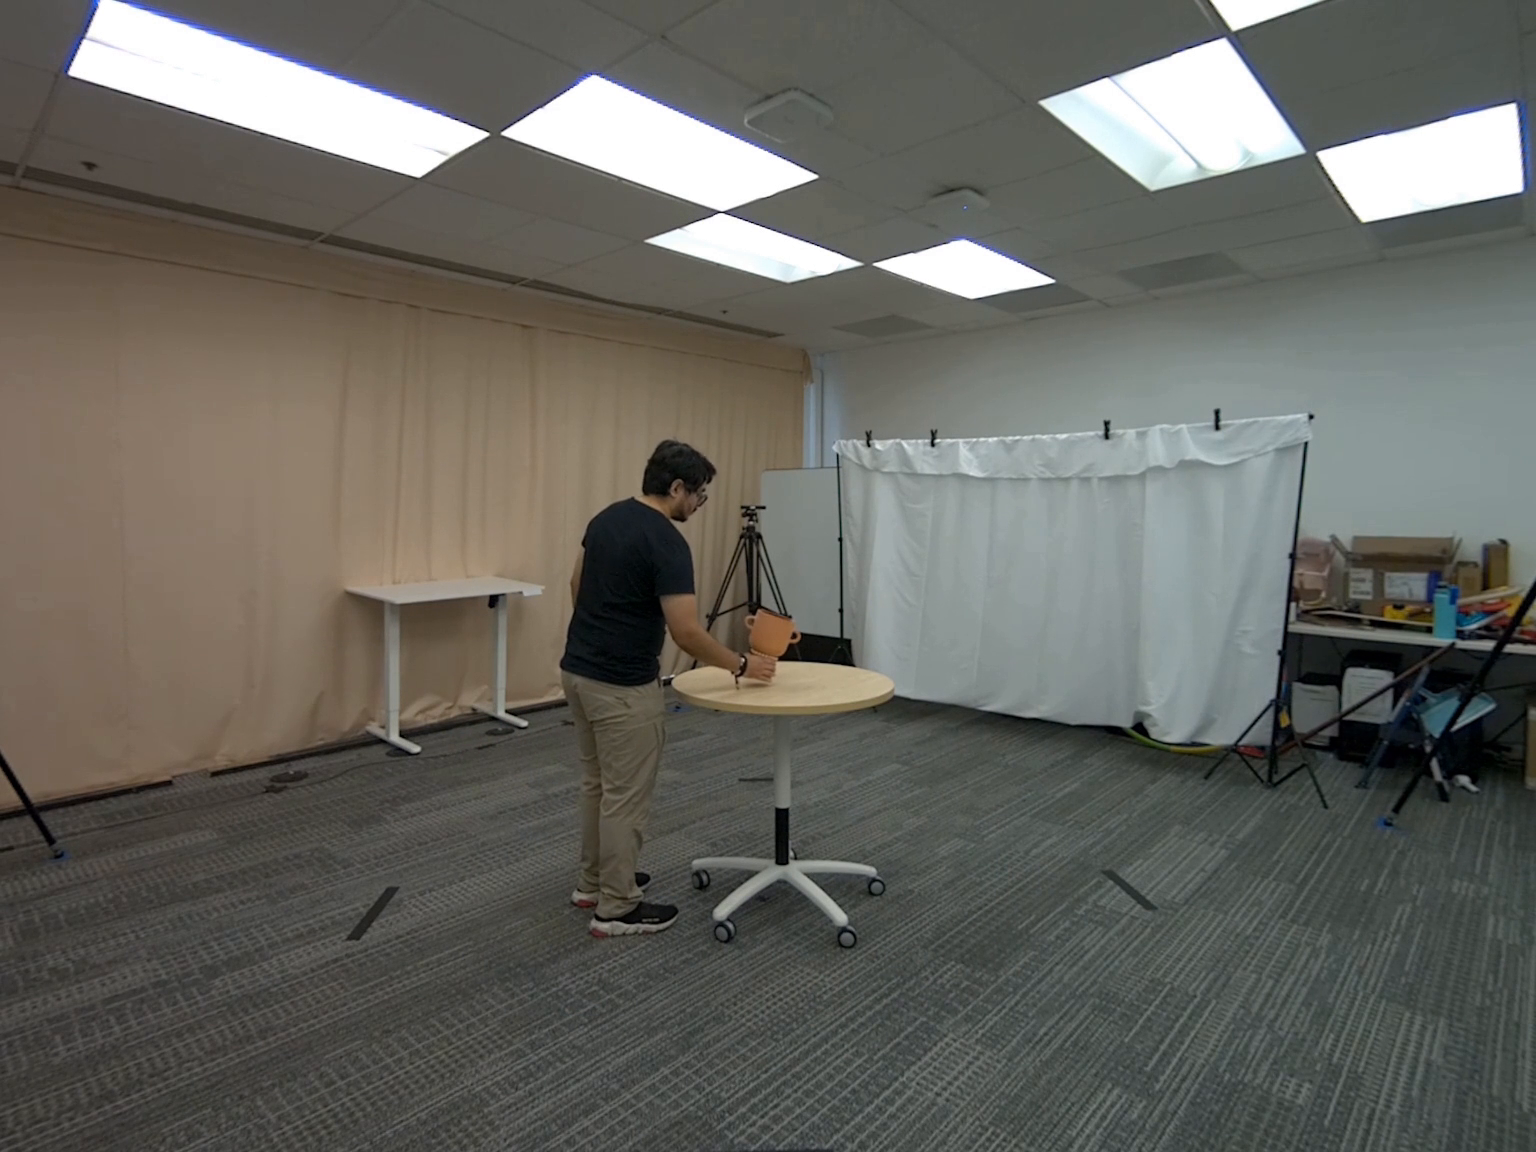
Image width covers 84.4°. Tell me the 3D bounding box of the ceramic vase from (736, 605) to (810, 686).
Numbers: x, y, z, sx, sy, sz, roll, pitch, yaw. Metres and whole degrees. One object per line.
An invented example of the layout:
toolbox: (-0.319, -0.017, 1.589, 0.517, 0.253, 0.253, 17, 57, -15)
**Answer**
ceramic vase: (0.007, 0.232, 2.839, 0.164, 0.220, 0.130, 18, 1, 36)
